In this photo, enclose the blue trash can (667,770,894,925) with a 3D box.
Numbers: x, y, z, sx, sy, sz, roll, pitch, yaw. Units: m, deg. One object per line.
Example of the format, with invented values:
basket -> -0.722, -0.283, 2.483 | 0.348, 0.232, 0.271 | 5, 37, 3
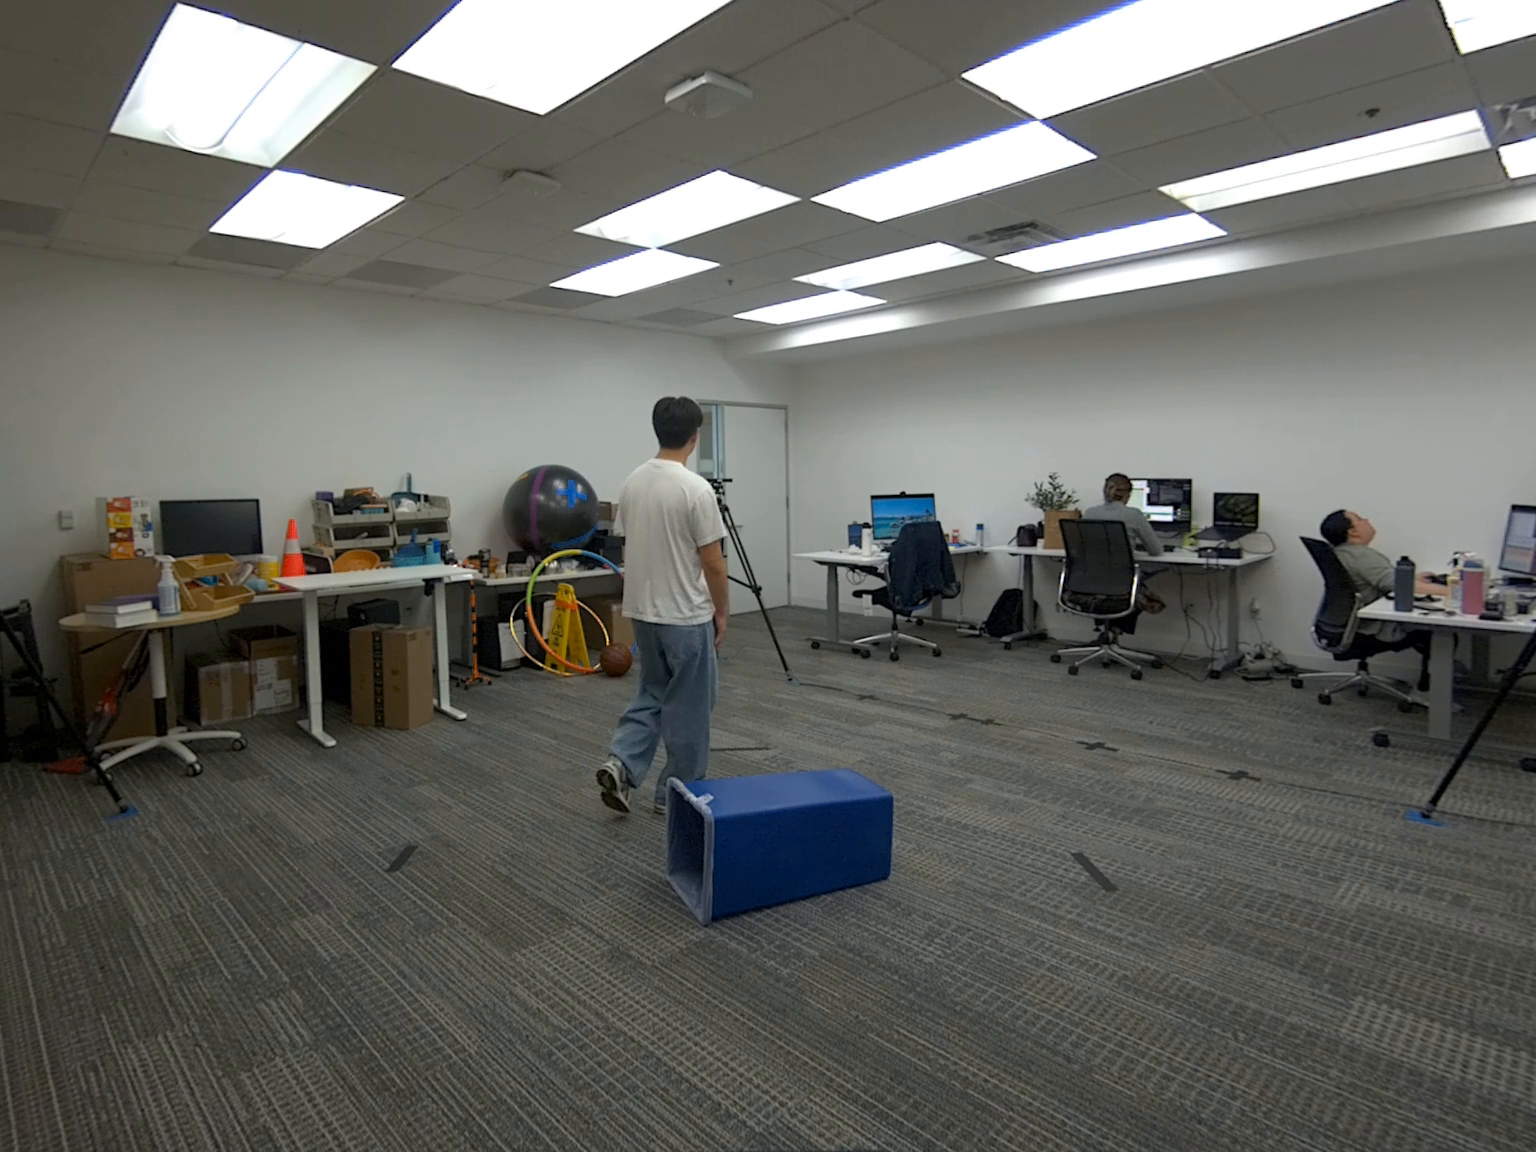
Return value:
blue trash can -> 0.046, 0.896, 2.961 | 0.698, 0.377, 0.383 | -1, 4, -25
